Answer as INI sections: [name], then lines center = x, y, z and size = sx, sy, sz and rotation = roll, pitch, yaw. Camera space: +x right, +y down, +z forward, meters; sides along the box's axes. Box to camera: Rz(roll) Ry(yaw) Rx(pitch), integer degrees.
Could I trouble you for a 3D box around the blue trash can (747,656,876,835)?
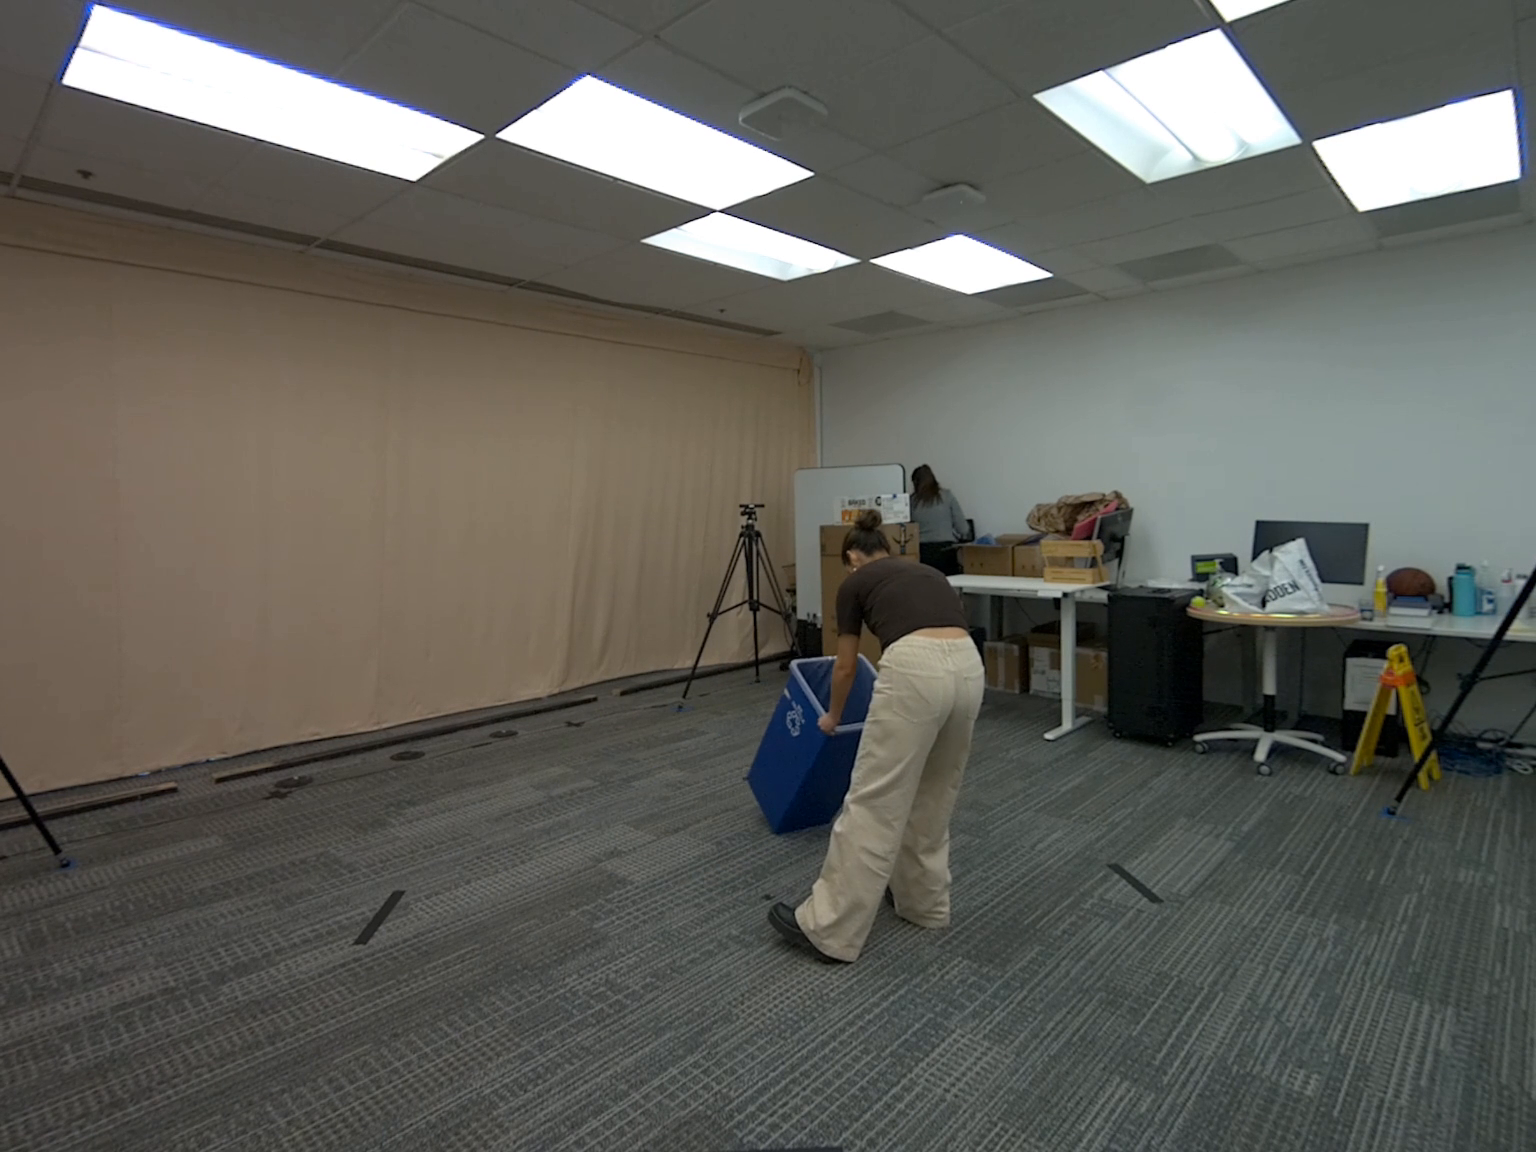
[blue trash can]
center = 0.211, 0.719, 3.494
size = 0.368, 0.709, 0.386
rotation = -3, 41, -31
